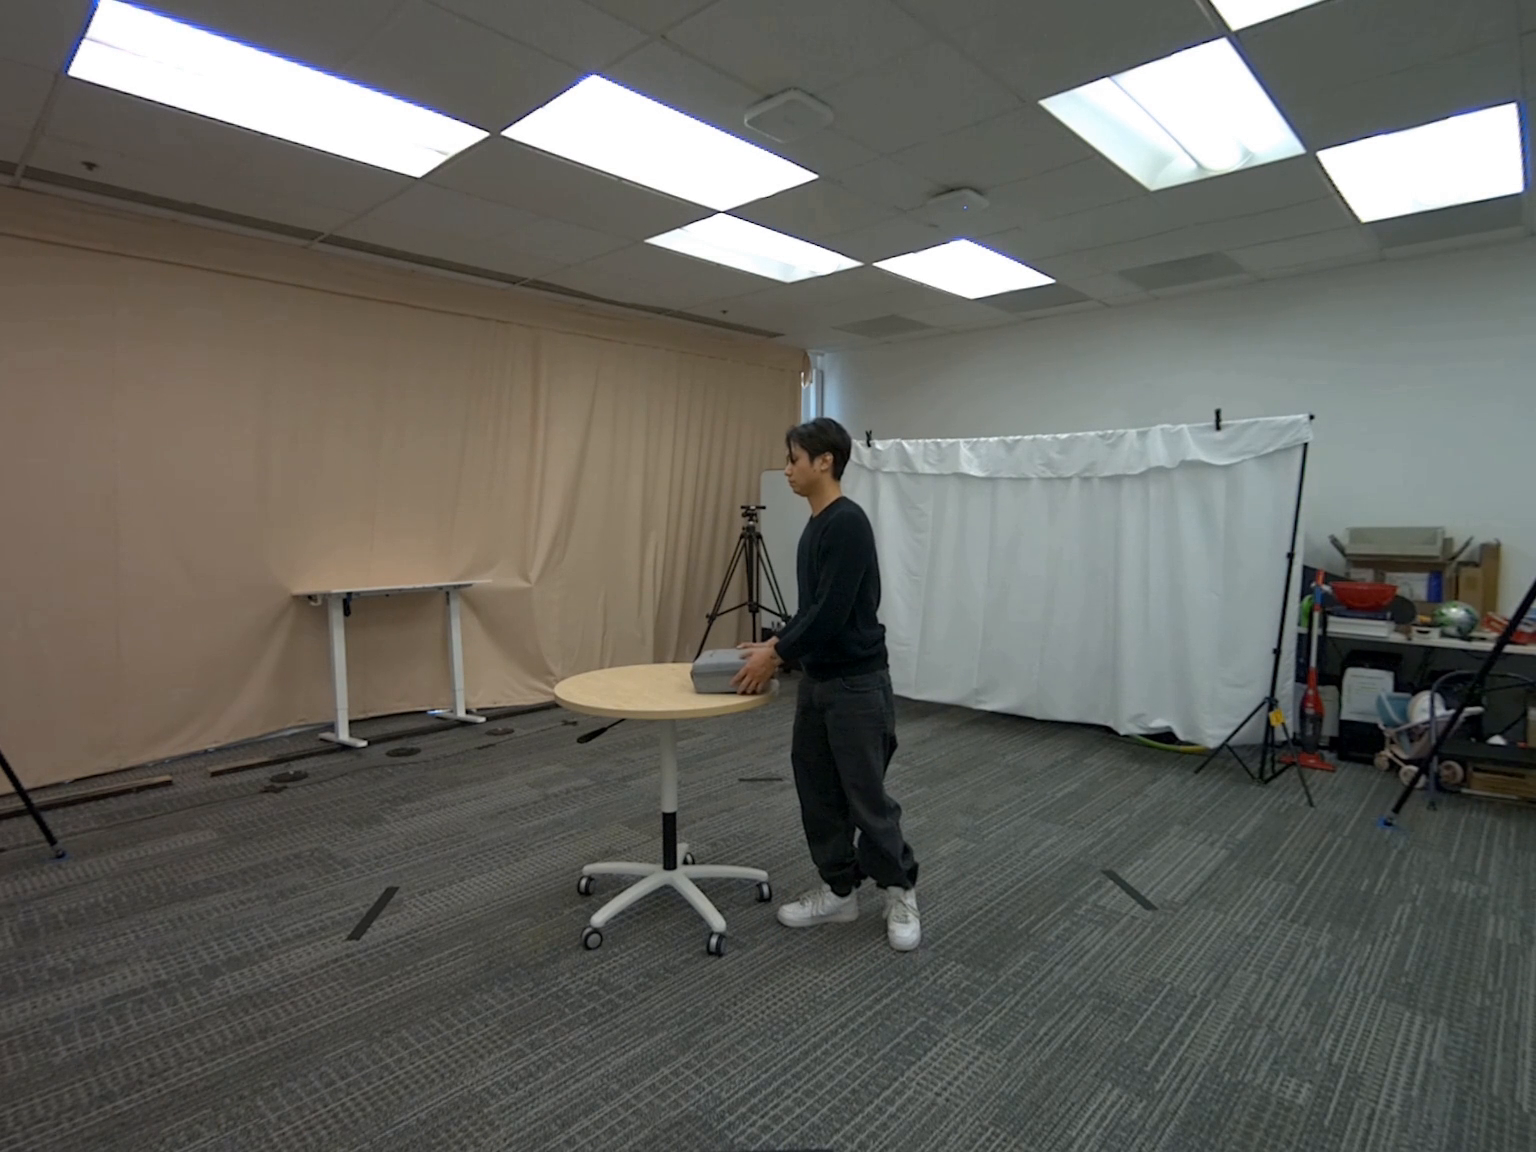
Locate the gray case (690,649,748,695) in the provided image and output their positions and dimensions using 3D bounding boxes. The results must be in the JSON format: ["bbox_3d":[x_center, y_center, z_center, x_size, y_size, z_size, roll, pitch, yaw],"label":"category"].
[{"bbox_3d":[-0.108,0.312,2.822,0.263,0.104,0.255,-3,3,7],"label":"gray case"}]
